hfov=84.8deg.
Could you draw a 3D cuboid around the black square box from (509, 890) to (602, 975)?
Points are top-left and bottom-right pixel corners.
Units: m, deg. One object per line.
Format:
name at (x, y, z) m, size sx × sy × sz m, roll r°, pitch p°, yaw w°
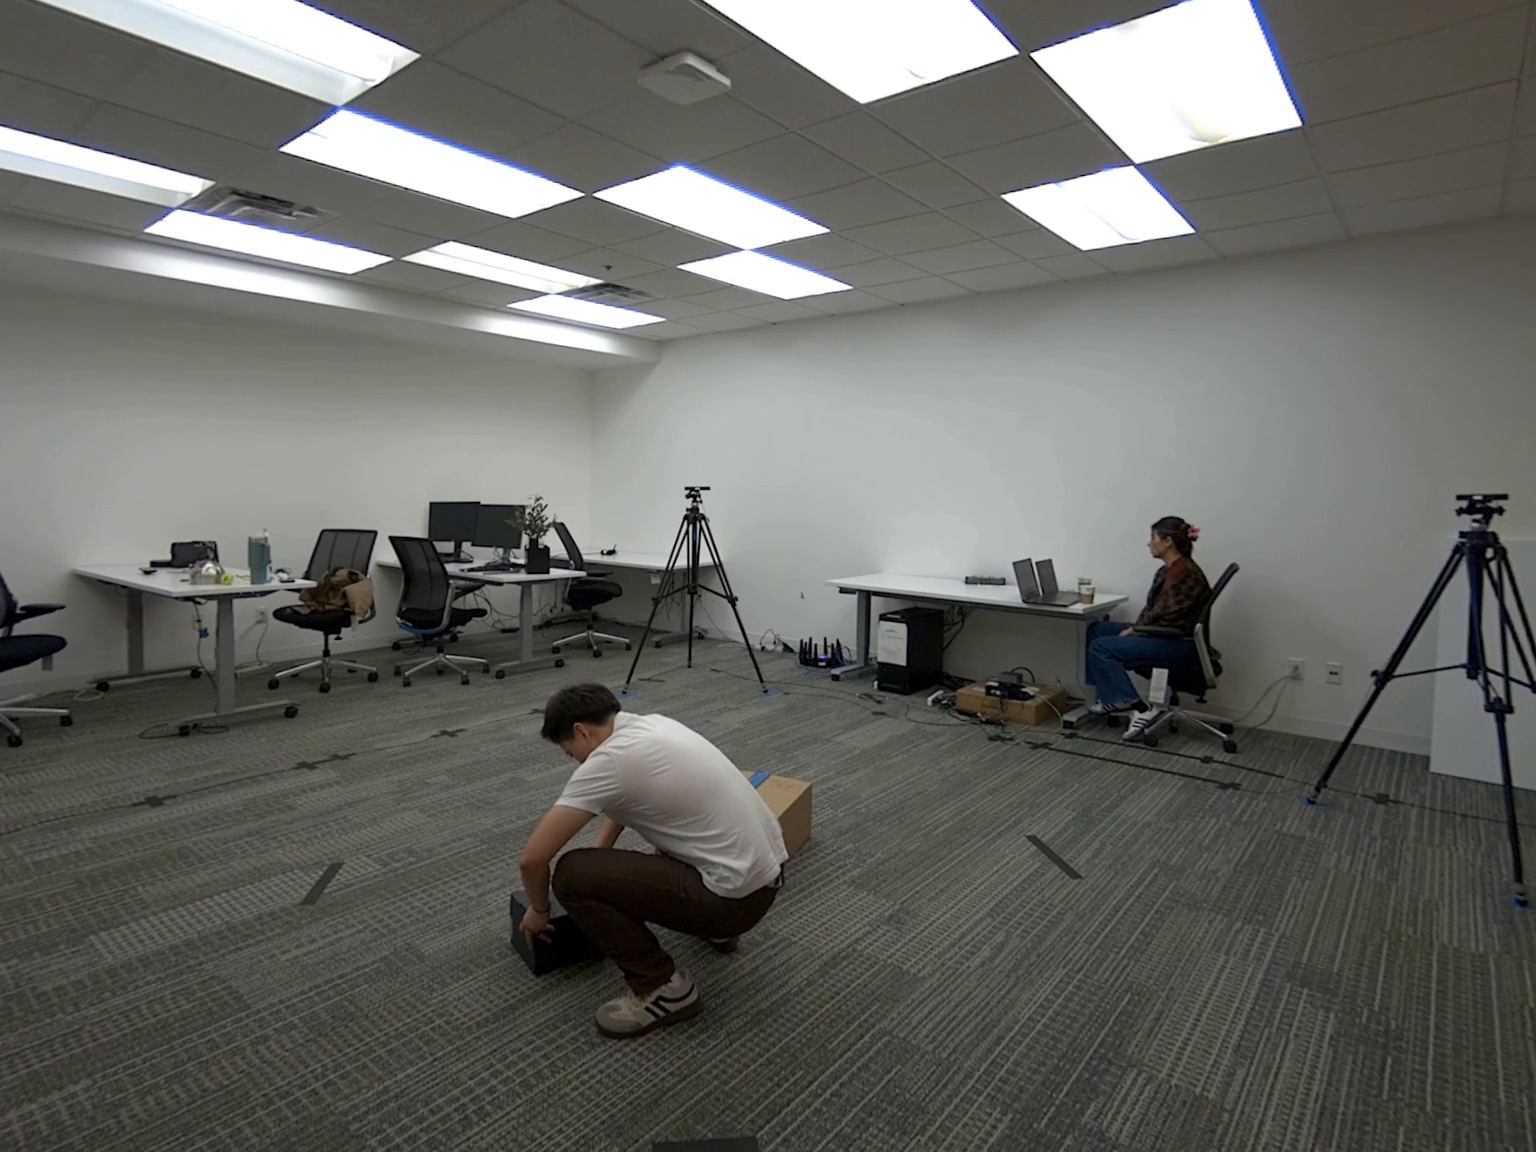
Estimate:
black square box at (-0.647, 1.025, 2.556) m, size 0.221 × 0.155 × 0.224 m, roll -3°, pitch 6°, yaw -35°
